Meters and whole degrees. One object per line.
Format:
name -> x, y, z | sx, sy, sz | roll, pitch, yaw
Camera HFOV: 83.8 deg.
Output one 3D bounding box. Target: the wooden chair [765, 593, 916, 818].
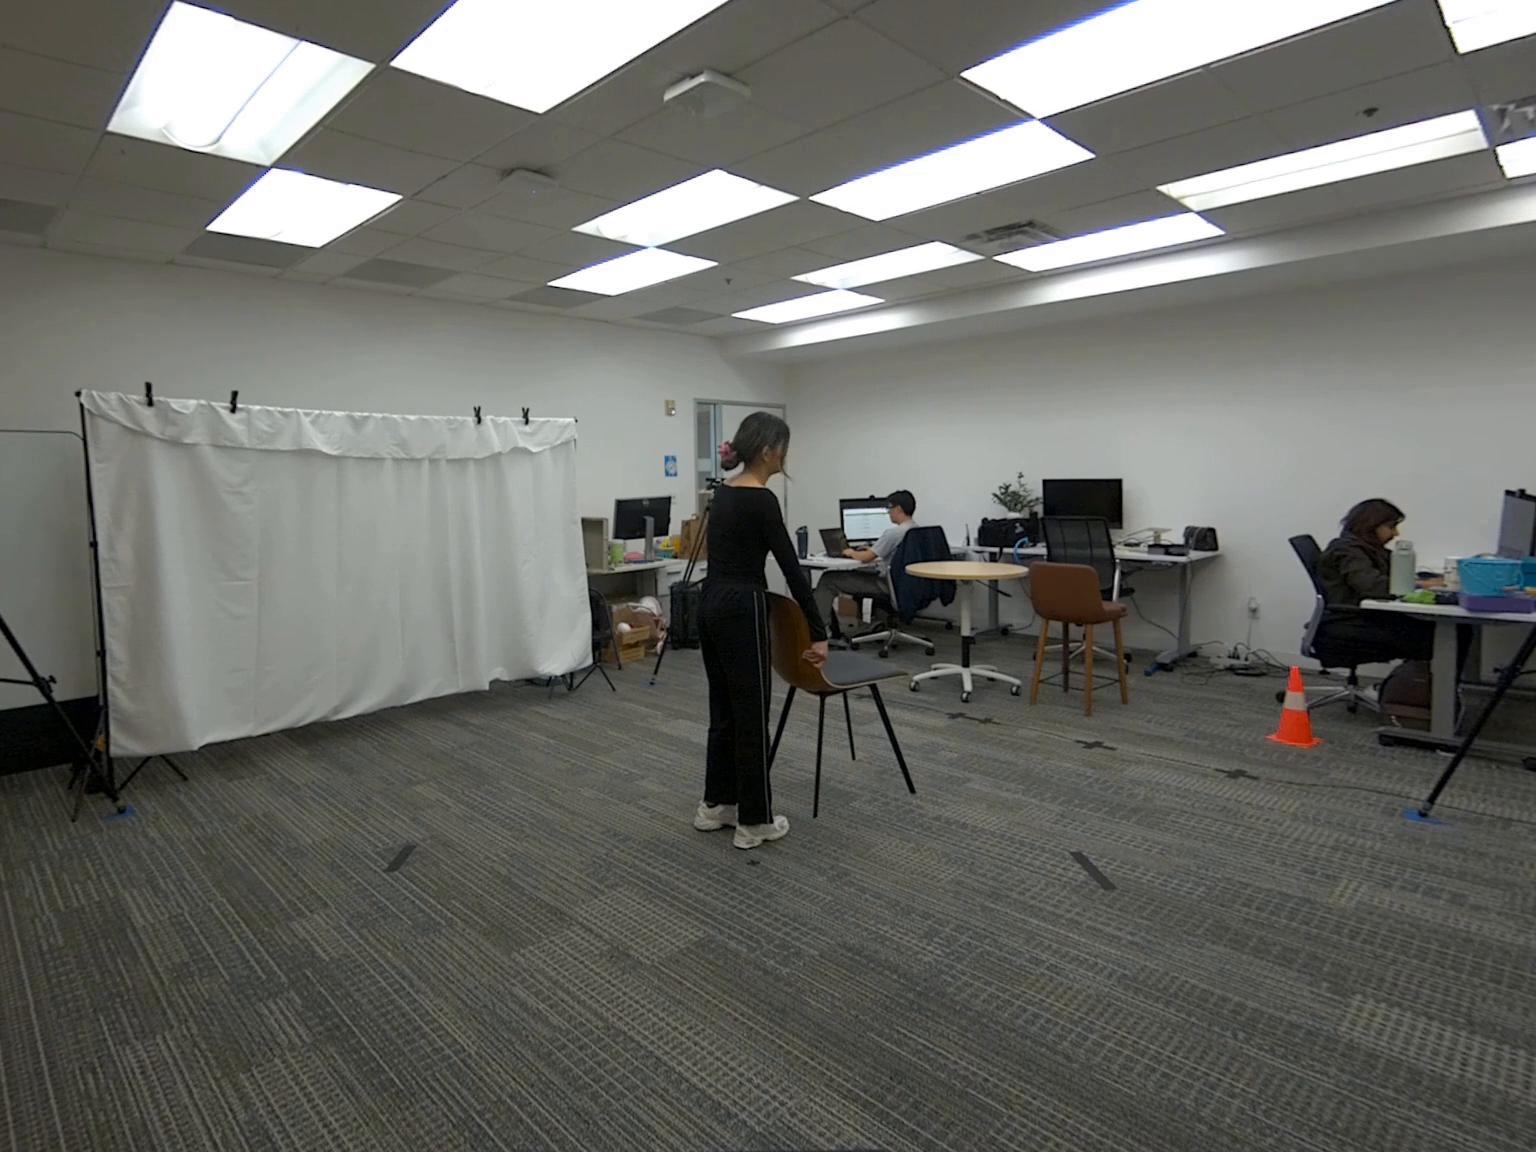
wooden chair -> 0.260, 0.436, 3.419 | 0.514, 0.871, 0.490 | -10, 8, -24
